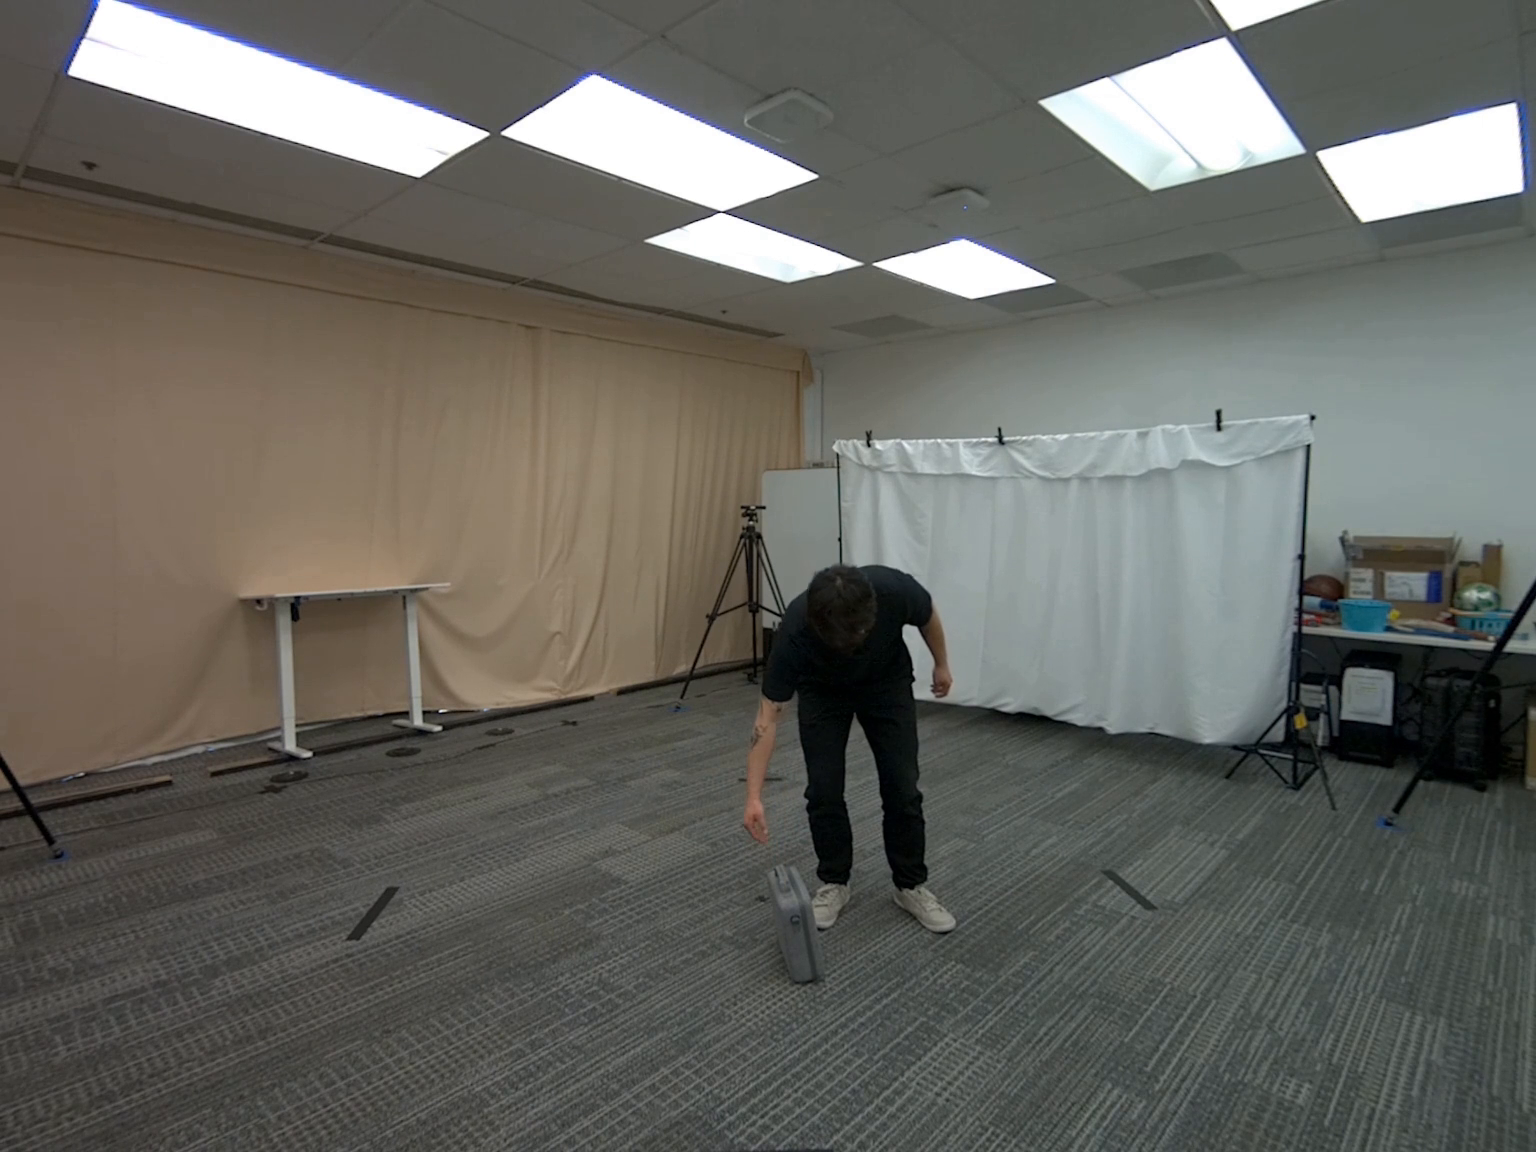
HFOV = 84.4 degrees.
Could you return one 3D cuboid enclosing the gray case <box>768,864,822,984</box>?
[{"bbox_3d":[0.084,1.046,2.551,0.103,0.260,0.259,-9,5,-9],"label":"gray case"}]
